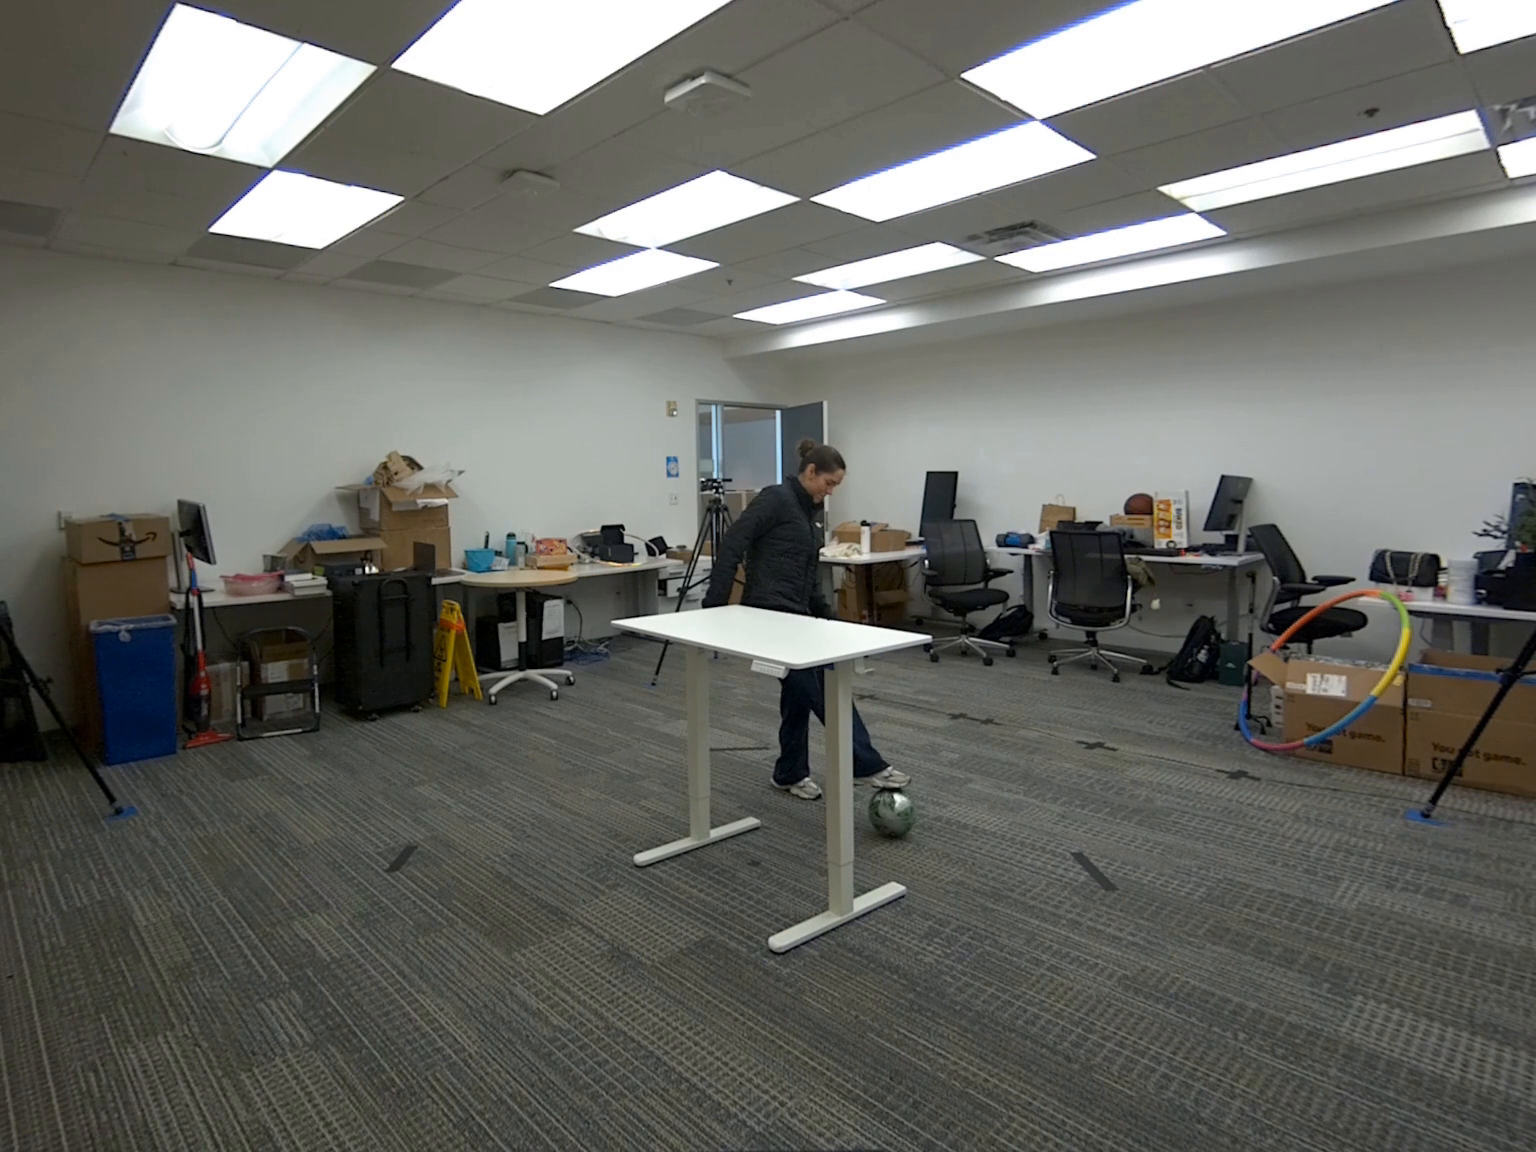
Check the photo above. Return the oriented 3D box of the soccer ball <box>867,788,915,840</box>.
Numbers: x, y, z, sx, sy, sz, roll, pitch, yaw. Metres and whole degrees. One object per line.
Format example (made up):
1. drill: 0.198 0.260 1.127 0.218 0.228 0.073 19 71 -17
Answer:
1. soccer ball: 0.487 0.916 3.326 0.187 0.187 0.188 -1 5 -2
